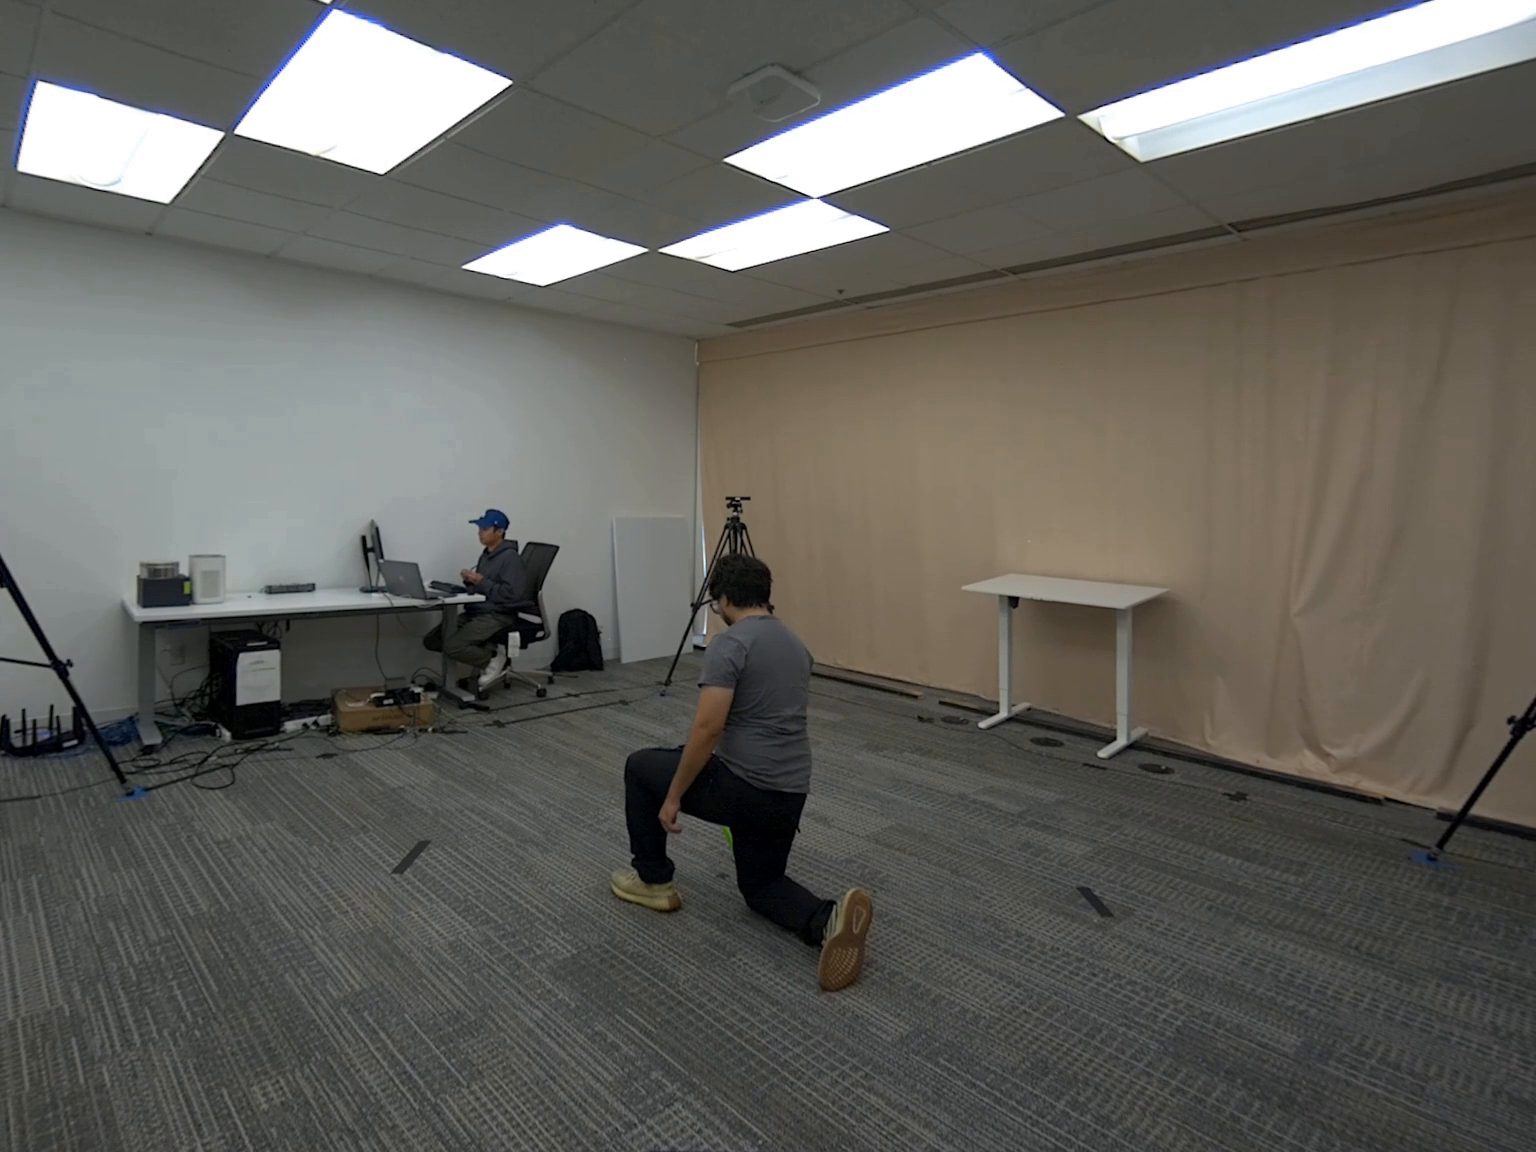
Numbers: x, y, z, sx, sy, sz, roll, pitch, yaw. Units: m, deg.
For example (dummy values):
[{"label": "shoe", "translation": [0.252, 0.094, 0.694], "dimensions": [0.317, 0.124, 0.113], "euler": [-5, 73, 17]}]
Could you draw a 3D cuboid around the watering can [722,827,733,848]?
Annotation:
[{"label": "watering can", "translation": [-0.109, 1.008, 3.248], "dimensions": [0.285, 0.176, 0.096], "euler": [5, 4, 42]}]
